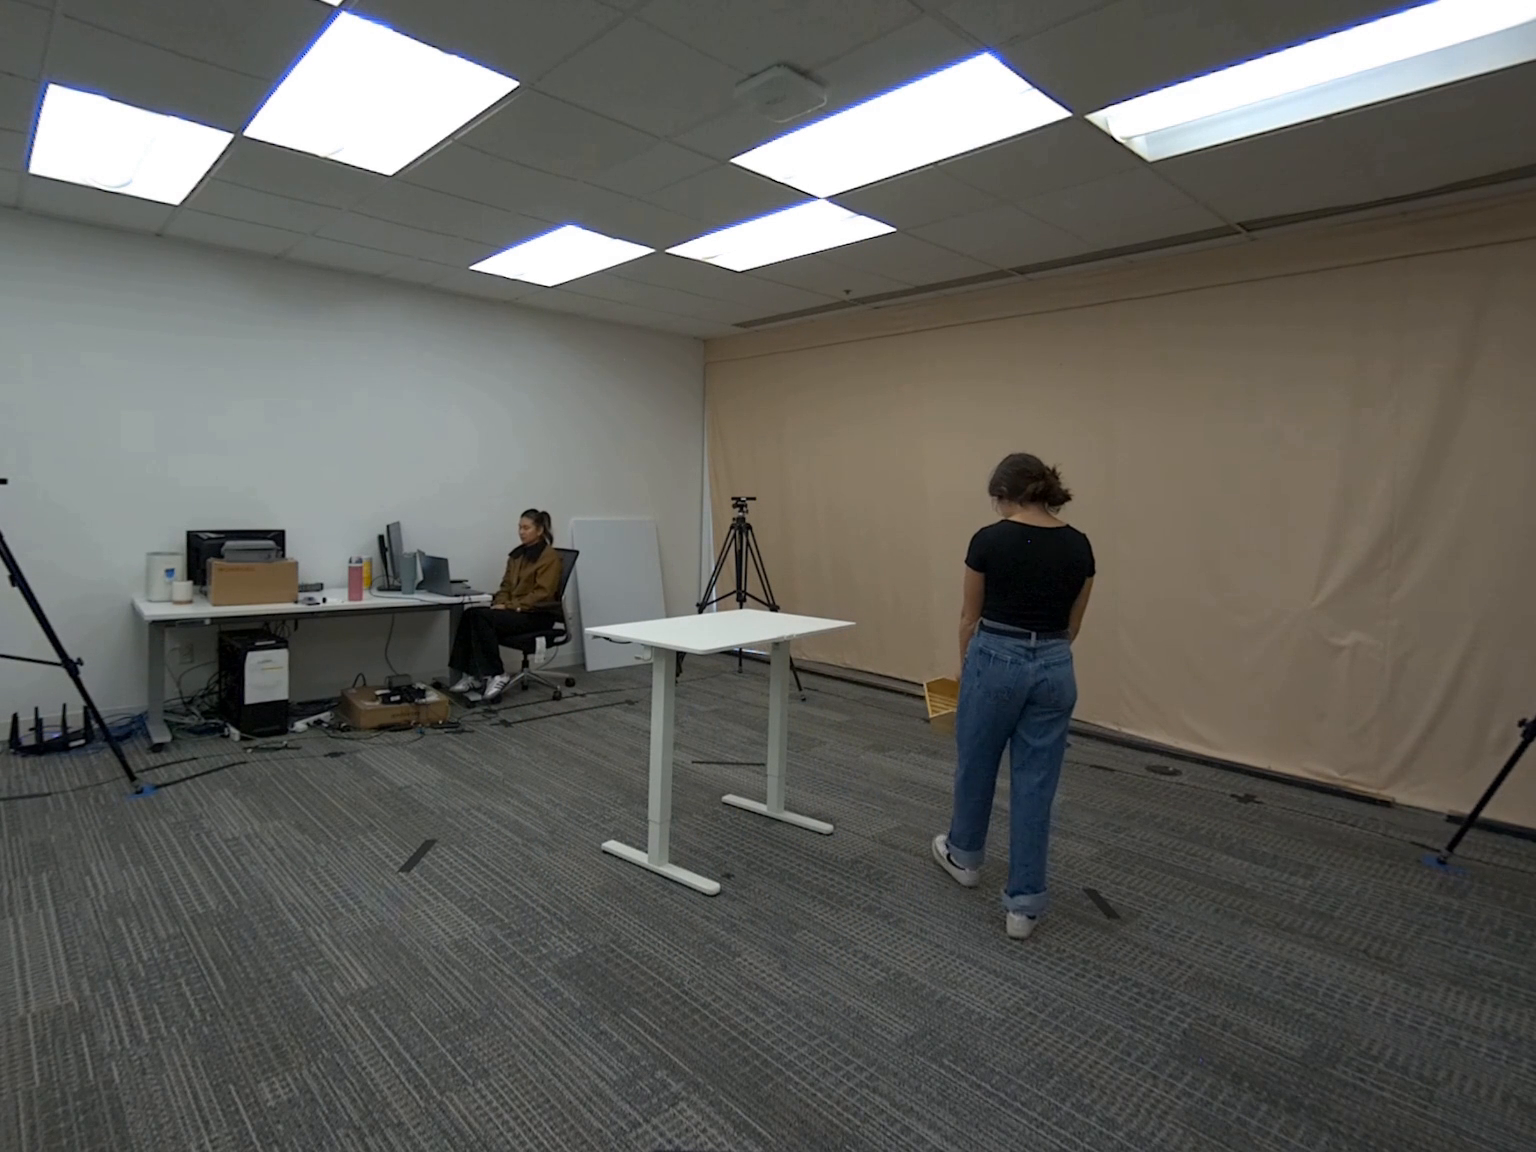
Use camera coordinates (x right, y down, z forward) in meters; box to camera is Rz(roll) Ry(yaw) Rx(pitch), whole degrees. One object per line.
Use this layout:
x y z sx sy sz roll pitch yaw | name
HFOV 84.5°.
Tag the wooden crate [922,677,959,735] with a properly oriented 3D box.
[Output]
0.755 0.421 3.126 0.302 0.271 0.327 15 17 1 | wooden crate
